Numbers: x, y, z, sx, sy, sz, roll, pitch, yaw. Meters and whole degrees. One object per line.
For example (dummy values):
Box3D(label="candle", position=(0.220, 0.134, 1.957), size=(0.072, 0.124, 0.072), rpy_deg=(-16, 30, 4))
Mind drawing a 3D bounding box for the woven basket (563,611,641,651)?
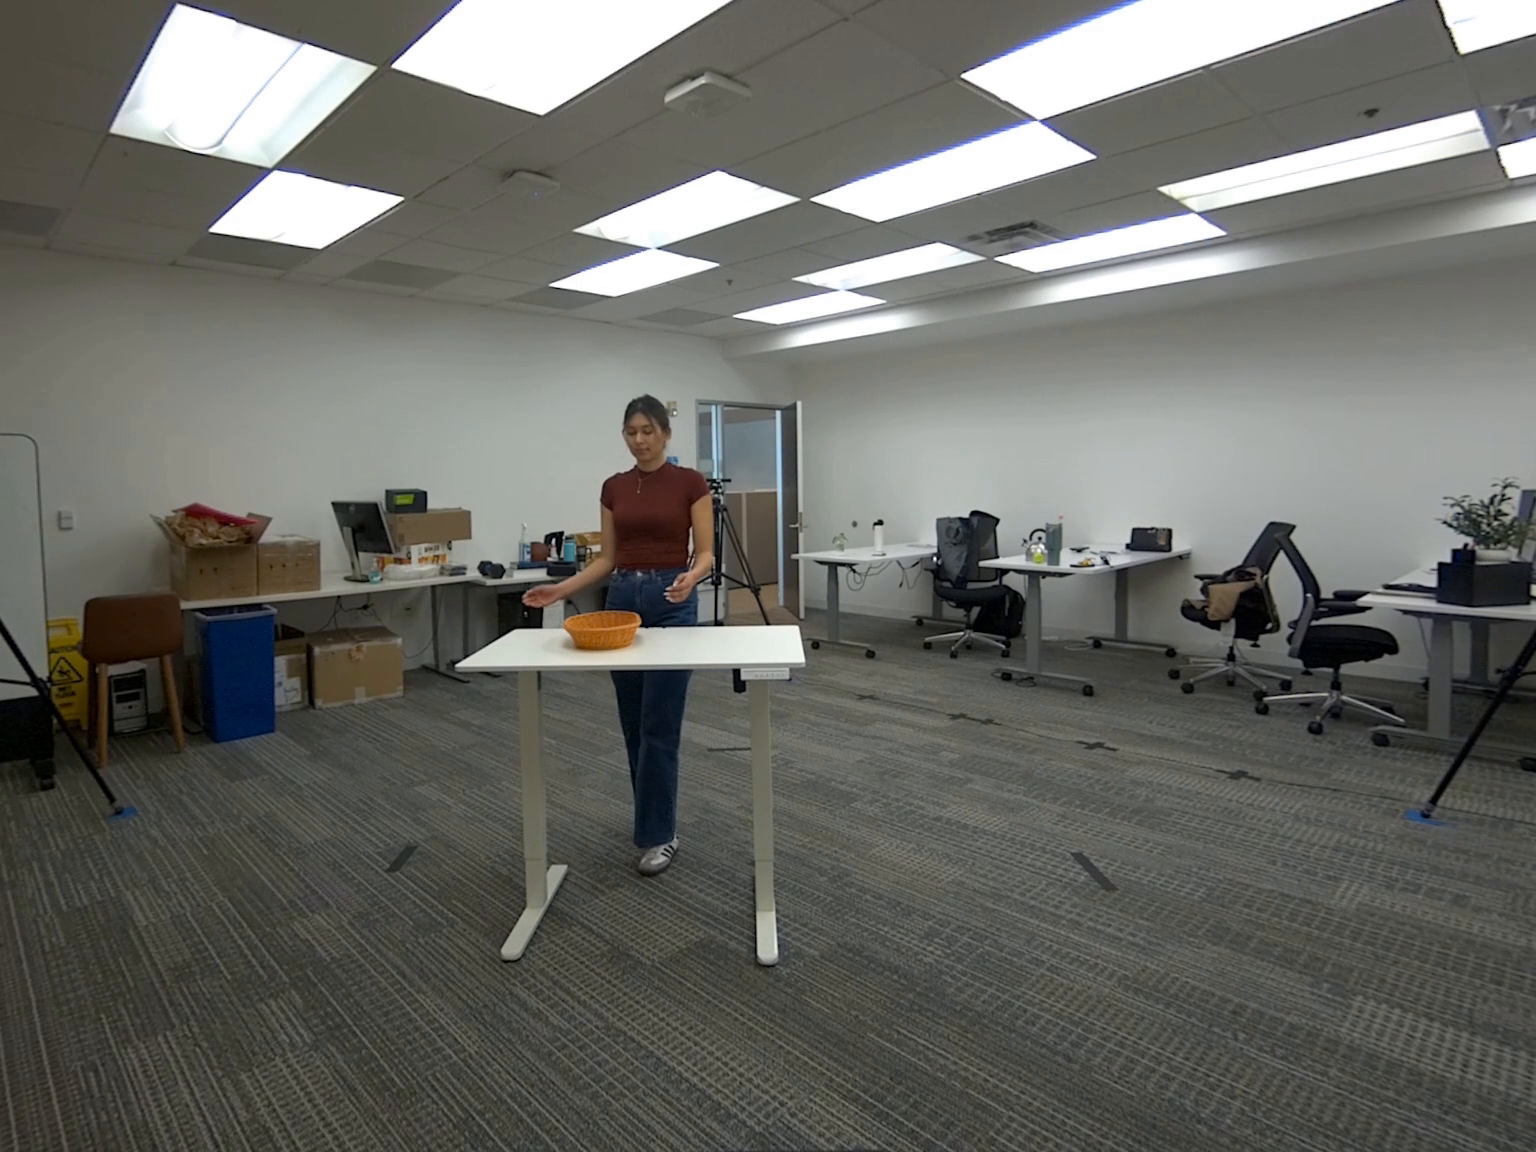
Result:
Box3D(label="woven basket", position=(-0.540, 0.183, 2.760), size=(0.251, 0.073, 0.353), rpy_deg=(-3, 6, -5))
